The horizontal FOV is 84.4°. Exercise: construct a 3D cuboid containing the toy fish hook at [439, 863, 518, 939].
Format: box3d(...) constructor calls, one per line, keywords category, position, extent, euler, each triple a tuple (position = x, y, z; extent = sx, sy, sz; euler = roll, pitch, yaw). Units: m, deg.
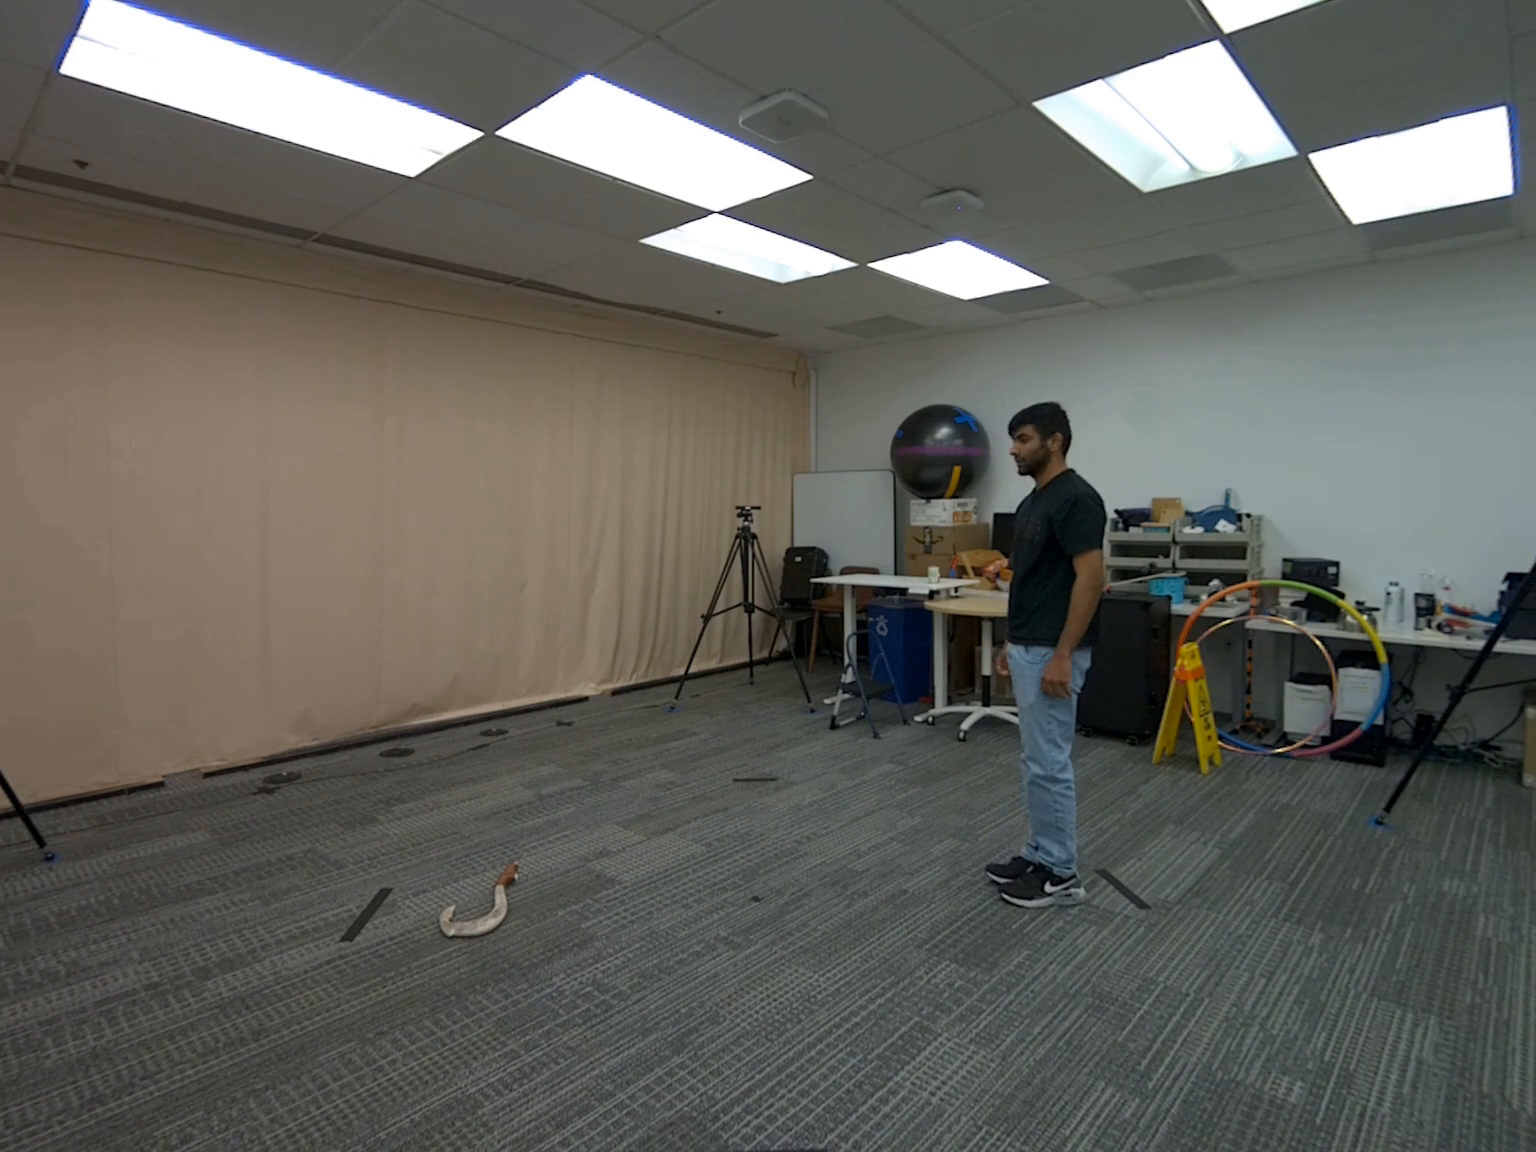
box3d(category="toy fish hook", position=(-1.007, 1.135, 2.969), extent=(0.224, 0.048, 0.509), euler=(0, 4, -4))
